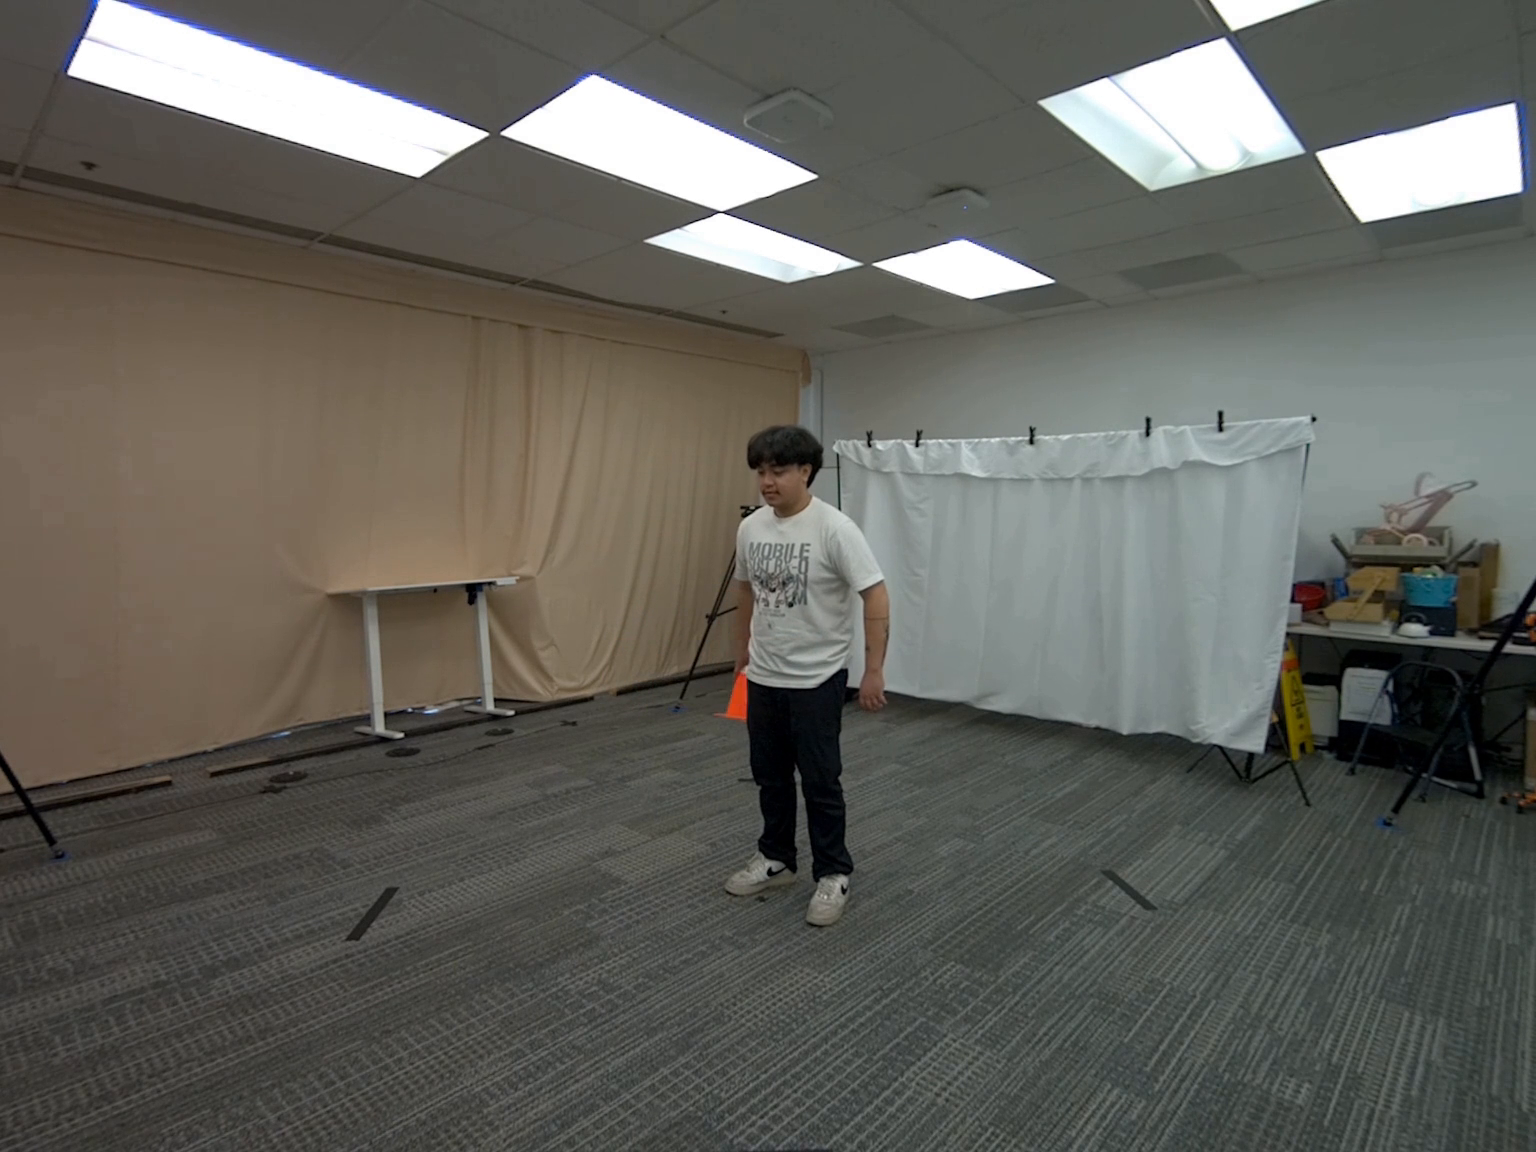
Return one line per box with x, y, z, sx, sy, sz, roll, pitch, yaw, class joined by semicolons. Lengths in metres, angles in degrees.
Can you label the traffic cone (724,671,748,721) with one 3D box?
-0.064;0.367;3.308;0.208;0.385;0.199;4;-10;24;traffic cone
